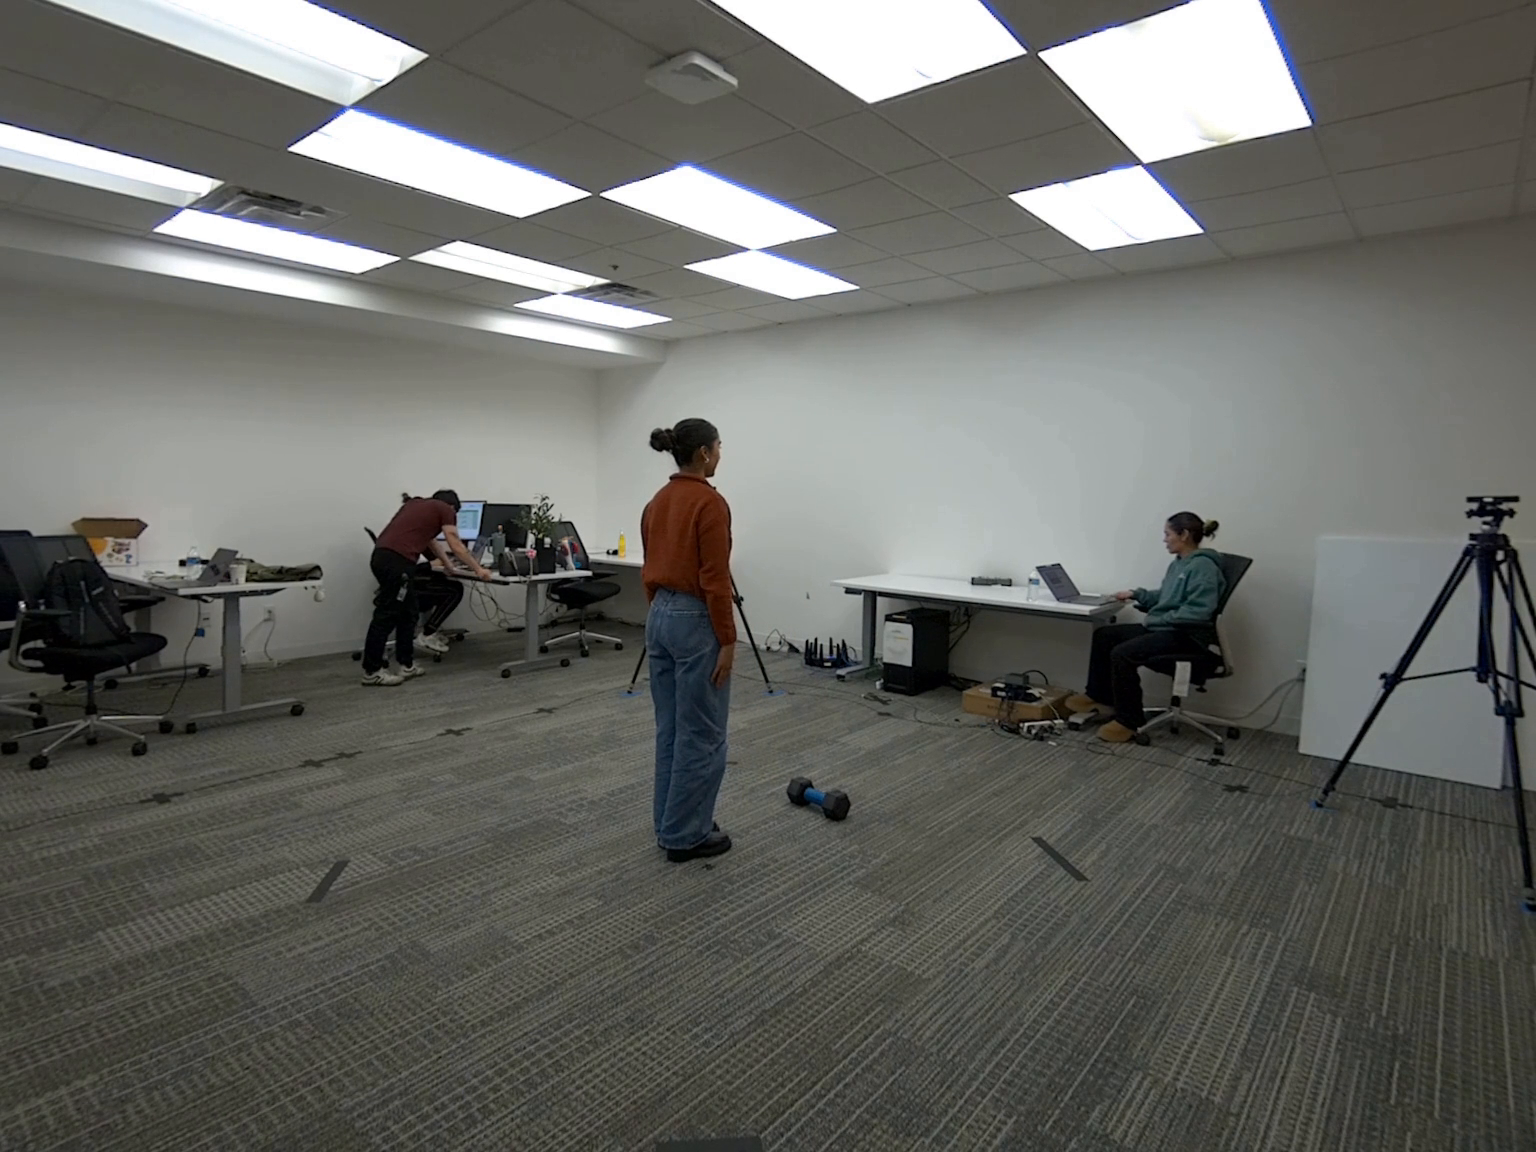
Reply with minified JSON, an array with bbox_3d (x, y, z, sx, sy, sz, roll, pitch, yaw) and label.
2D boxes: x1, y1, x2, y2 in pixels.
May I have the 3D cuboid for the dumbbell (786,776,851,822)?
[{"bbox_3d":[0.213,0.961,3.698,0.108,0.120,0.303,-38,27,-33],"label":"dumbbell"}]
